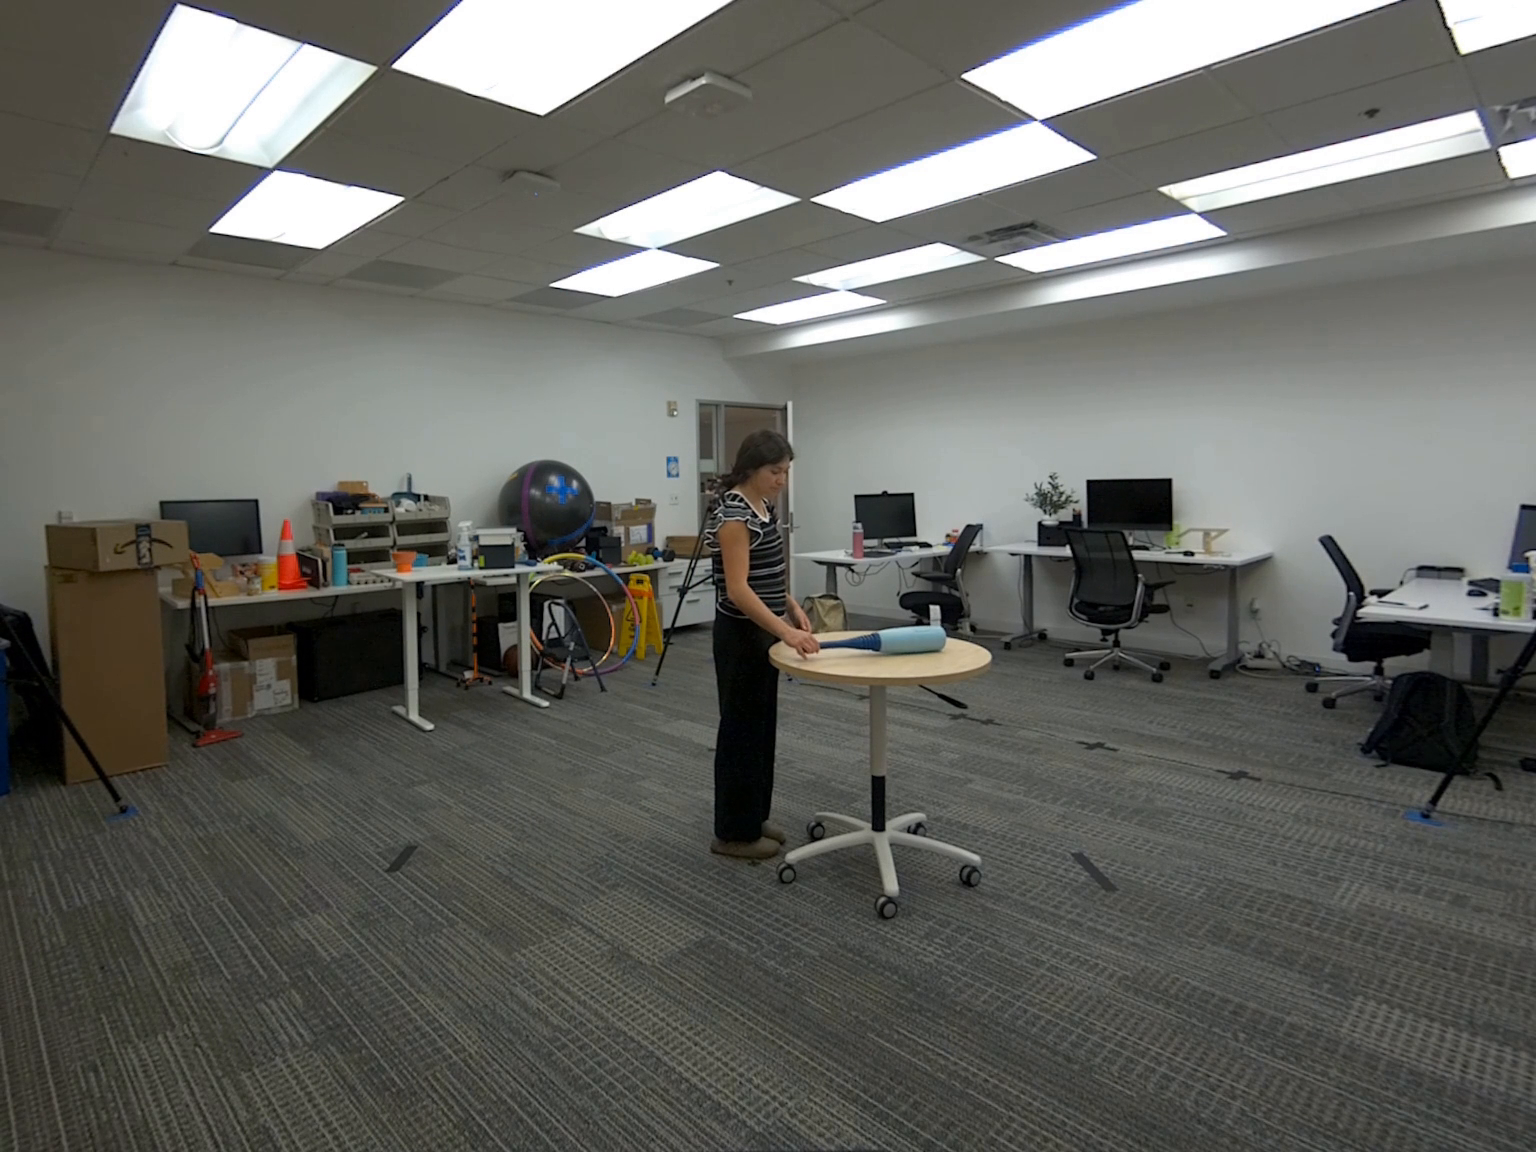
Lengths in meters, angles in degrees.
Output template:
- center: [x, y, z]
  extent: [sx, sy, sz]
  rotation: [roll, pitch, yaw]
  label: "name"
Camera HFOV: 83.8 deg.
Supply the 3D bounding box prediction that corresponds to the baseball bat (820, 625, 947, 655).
- center: [0.359, 0.230, 2.928]
  extent: [0.535, 0.089, 0.091]
  rotation: [-4, 5, -17]
  label: "baseball bat"
